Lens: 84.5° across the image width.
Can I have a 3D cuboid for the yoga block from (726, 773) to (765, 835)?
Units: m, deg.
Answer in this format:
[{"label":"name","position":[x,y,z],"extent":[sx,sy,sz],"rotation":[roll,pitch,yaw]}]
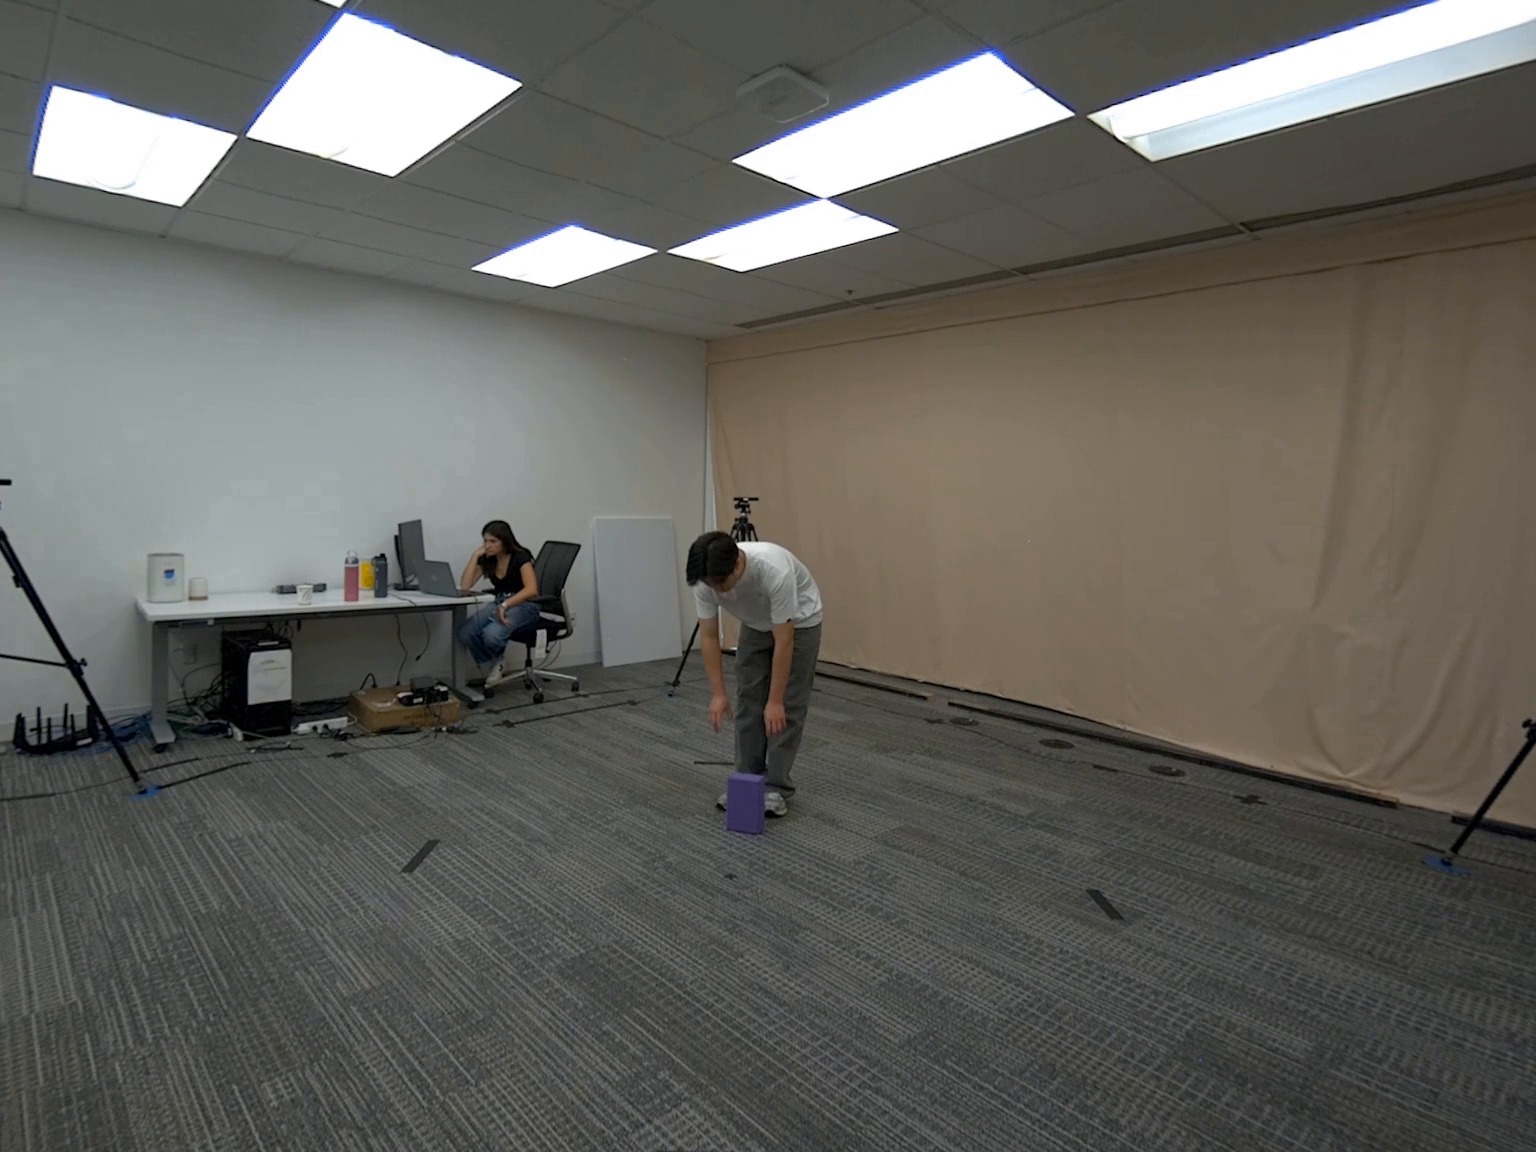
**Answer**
[{"label":"yoga block","position":[-0.111,0.961,3.539],"extent":[0.151,0.228,0.075],"rotation":[3,5,17]}]
